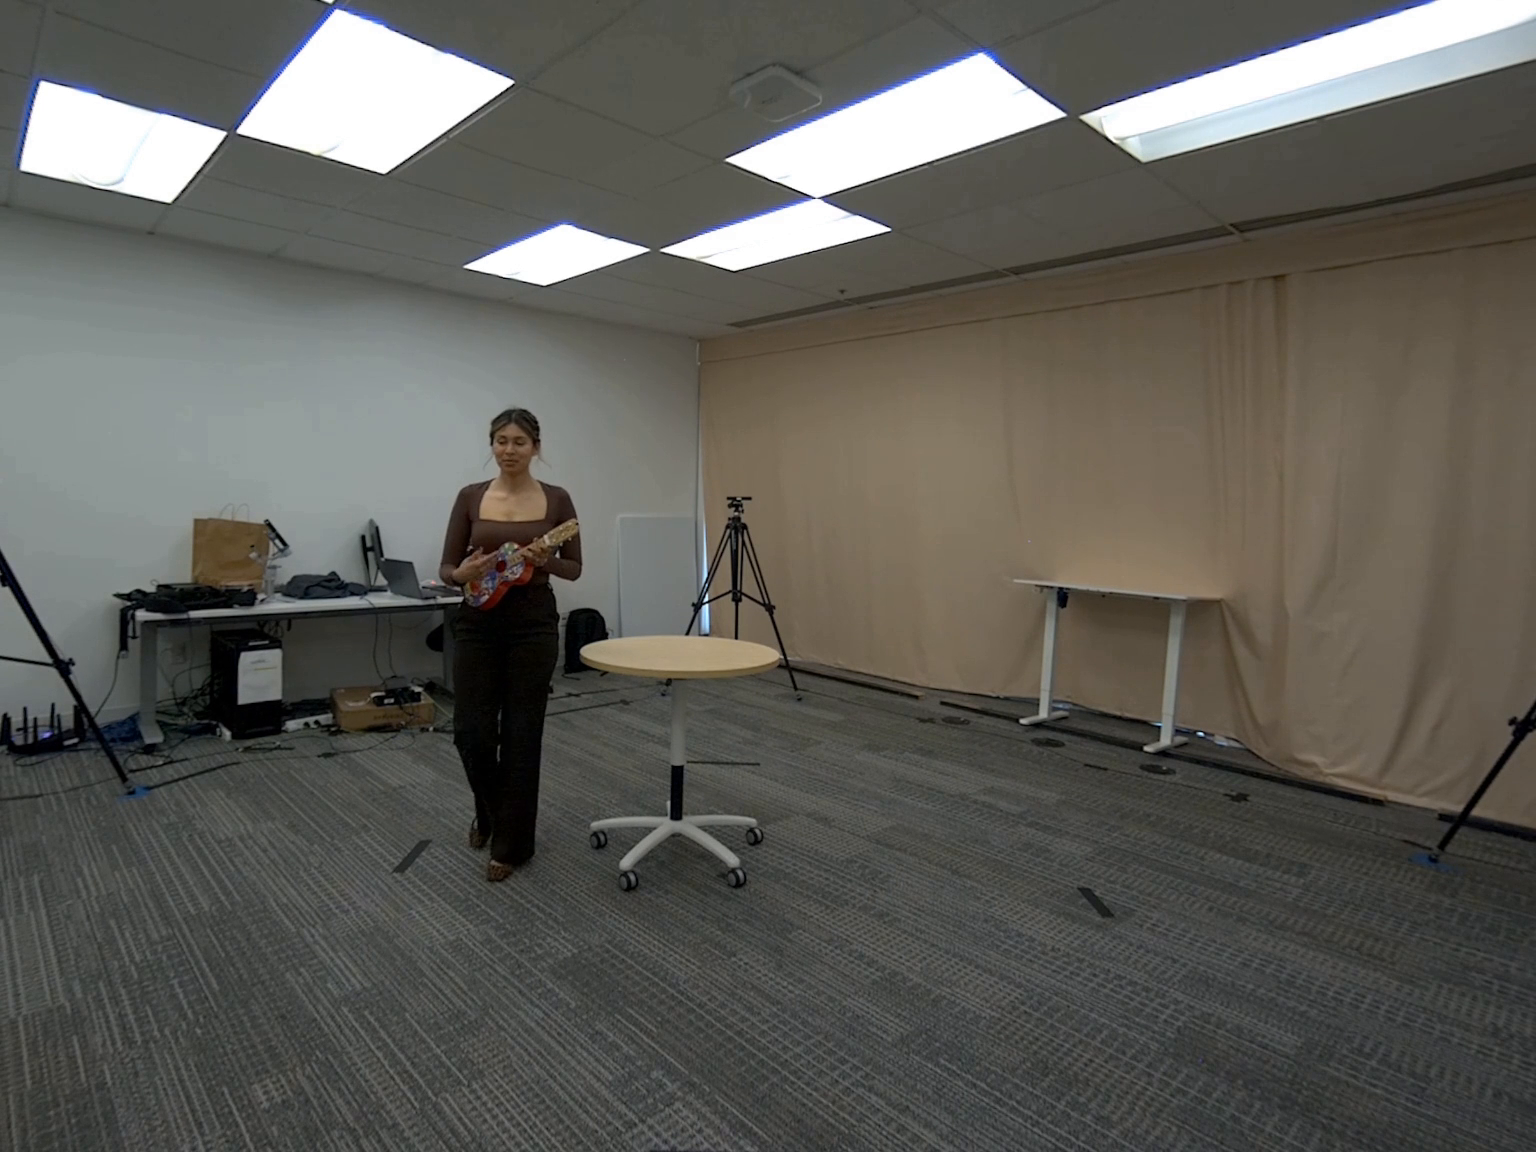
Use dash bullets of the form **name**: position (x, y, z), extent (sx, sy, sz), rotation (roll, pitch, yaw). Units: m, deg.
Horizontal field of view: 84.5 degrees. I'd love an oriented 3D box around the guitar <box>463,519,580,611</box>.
- **guitar**: position (-0.866, -0.036, 2.961), extent (0.501, 0.196, 0.069), rotation (-20, -22, 14)
